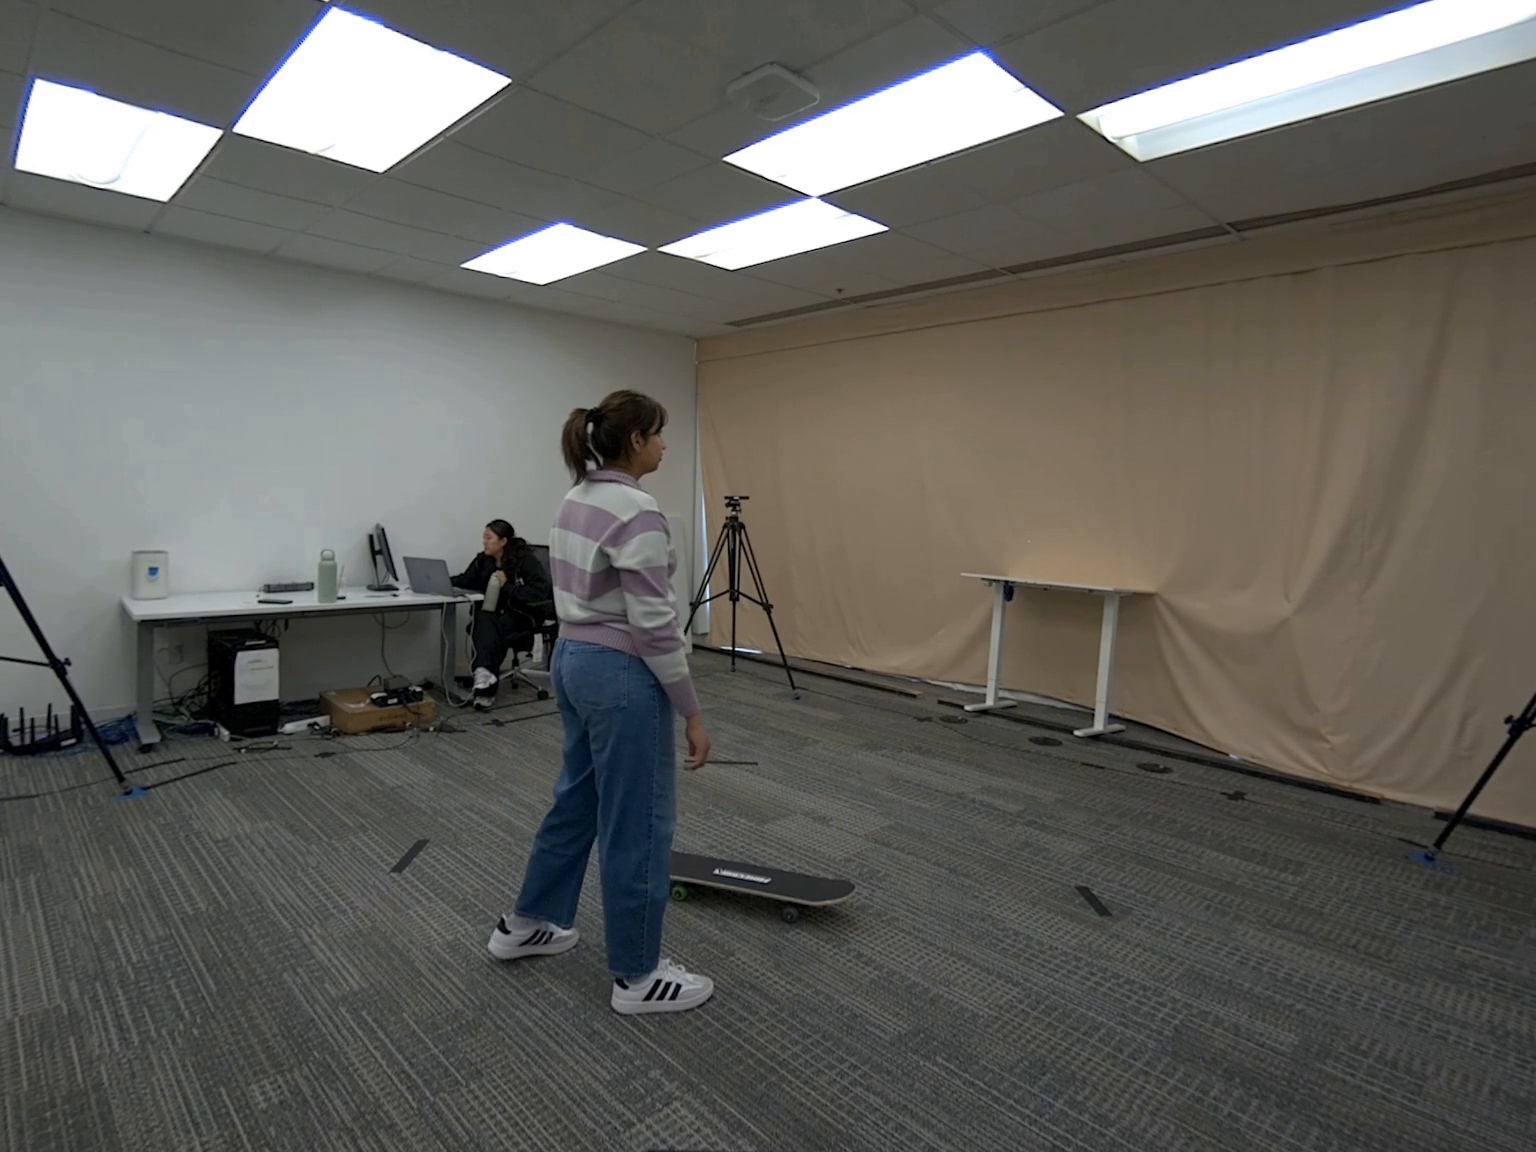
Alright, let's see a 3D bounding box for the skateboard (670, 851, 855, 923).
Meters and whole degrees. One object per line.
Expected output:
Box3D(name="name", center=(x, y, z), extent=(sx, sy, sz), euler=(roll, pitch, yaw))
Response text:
Box3D(name="skateboard", center=(-0.098, 1.067, 2.902), extent=(0.798, 0.110, 0.191), euler=(3, 5, 20))
